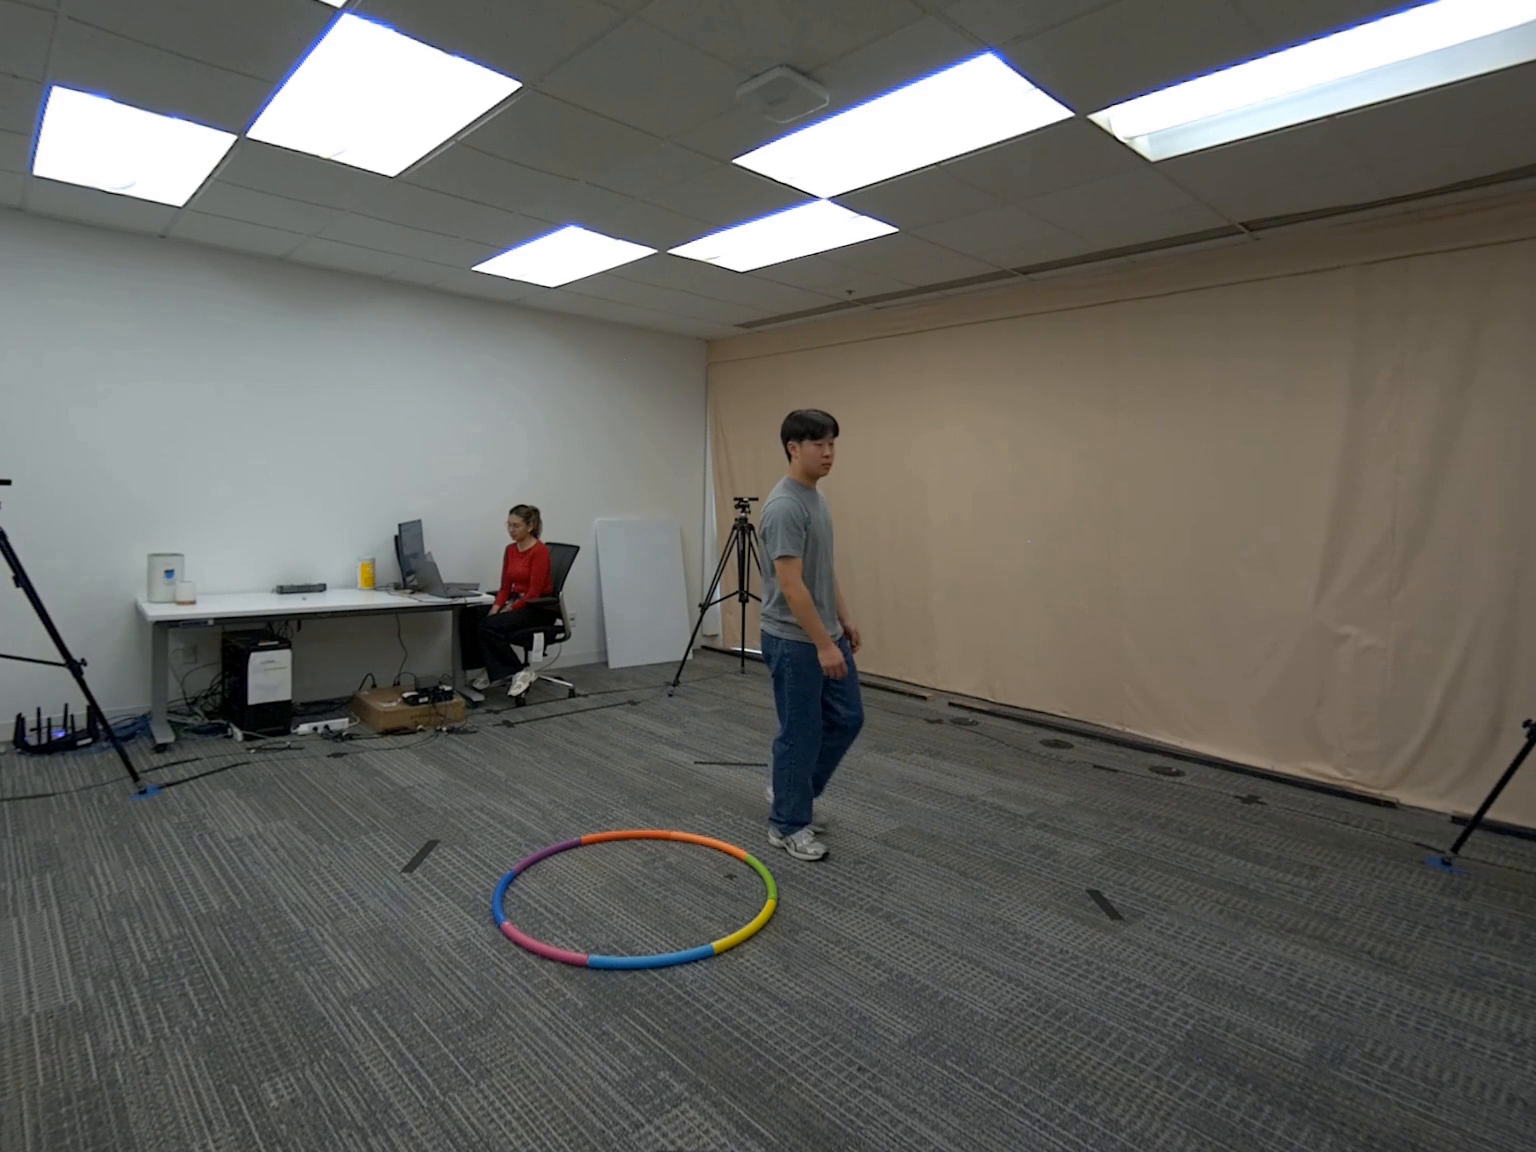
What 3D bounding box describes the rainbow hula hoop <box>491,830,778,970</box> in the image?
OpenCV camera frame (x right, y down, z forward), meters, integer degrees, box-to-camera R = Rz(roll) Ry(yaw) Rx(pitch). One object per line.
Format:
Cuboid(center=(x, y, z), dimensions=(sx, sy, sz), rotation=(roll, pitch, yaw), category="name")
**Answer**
Cuboid(center=(-0.465, 1.083, 2.956), dimensions=(0.978, 0.035, 0.982), rotation=(1, 5, -1), category="rainbow hula hoop")
